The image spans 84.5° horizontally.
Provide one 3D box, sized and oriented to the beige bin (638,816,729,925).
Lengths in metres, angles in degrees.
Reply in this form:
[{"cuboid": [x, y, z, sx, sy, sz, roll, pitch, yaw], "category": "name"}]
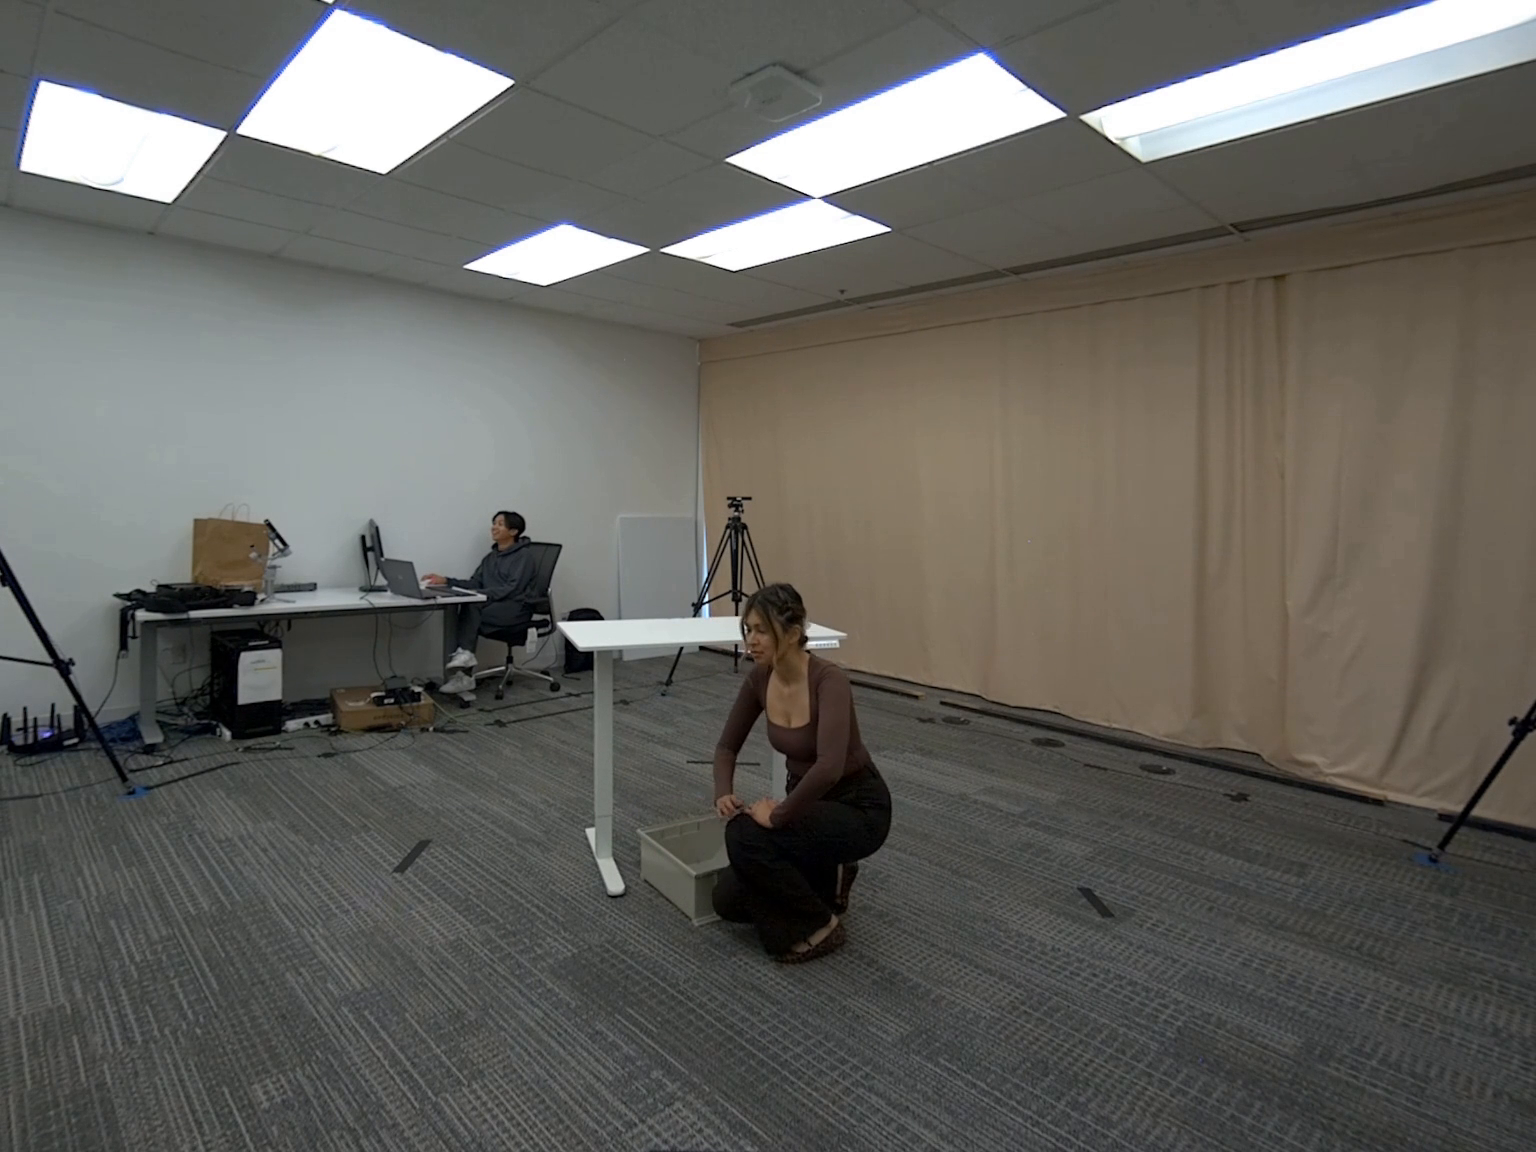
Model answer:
[{"cuboid": [-0.212, 1.026, 2.991, 0.369, 0.188, 0.433, -4, 8, -34], "category": "beige bin"}]
